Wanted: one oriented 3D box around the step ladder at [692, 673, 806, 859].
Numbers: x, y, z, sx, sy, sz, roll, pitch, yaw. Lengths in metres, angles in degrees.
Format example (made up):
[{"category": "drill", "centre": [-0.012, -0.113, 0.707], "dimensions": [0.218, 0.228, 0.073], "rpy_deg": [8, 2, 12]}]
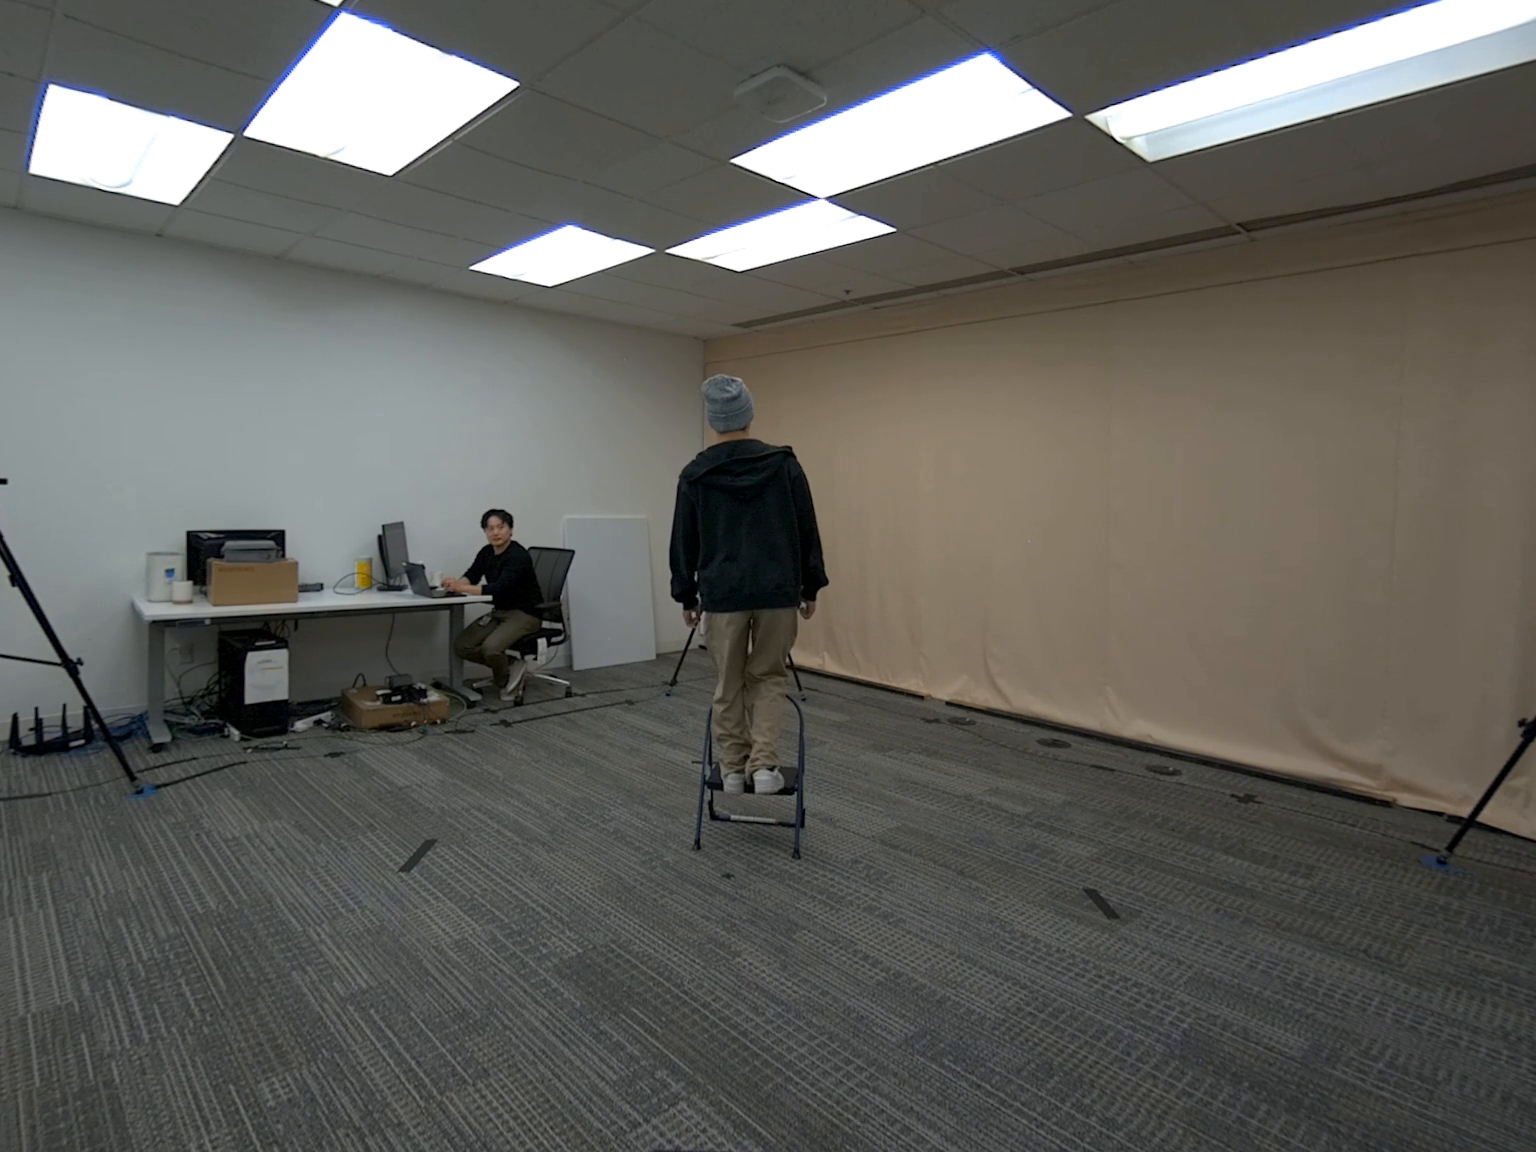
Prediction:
[{"category": "step ladder", "centre": [-0.066, 0.780, 3.456], "dimensions": [0.433, 0.604, 0.348], "rpy_deg": [2, 4, 7]}]
